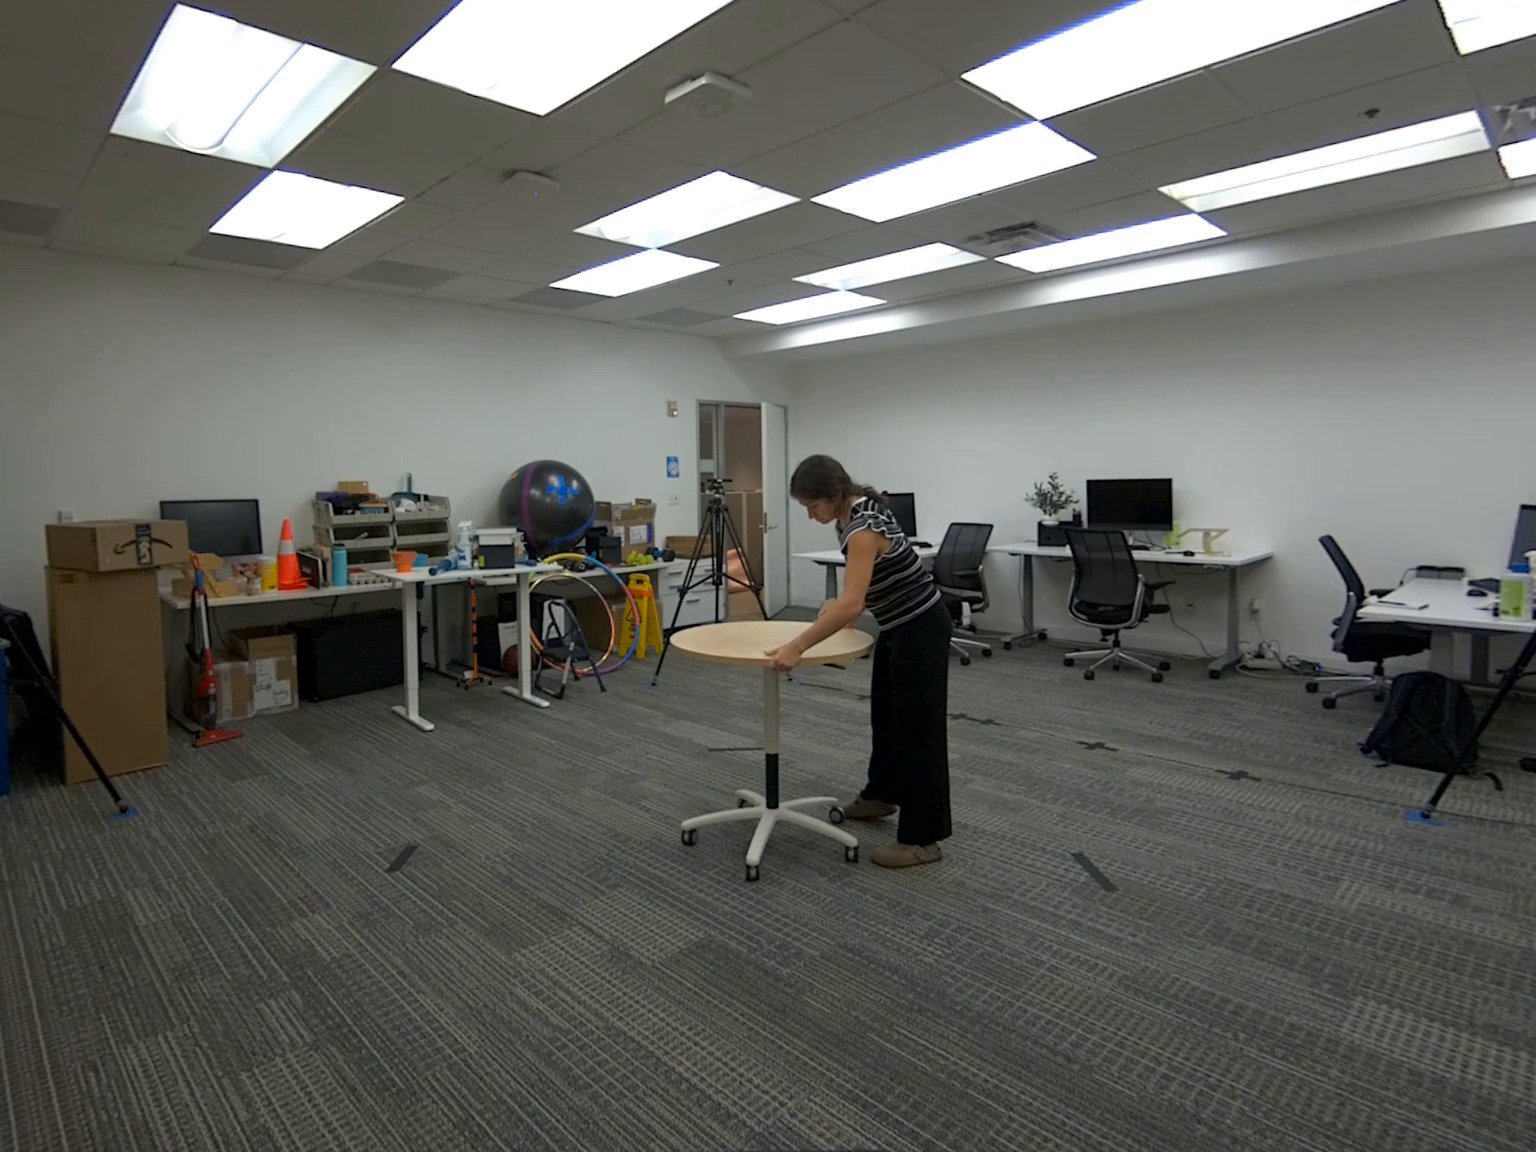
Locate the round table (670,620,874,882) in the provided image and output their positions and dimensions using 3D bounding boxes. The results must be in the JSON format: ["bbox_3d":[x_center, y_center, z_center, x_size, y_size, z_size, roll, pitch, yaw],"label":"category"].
[{"bbox_3d":[0.022,0.626,3.246,0.784,0.783,0.789,-1,5,-2],"label":"round table"}]
